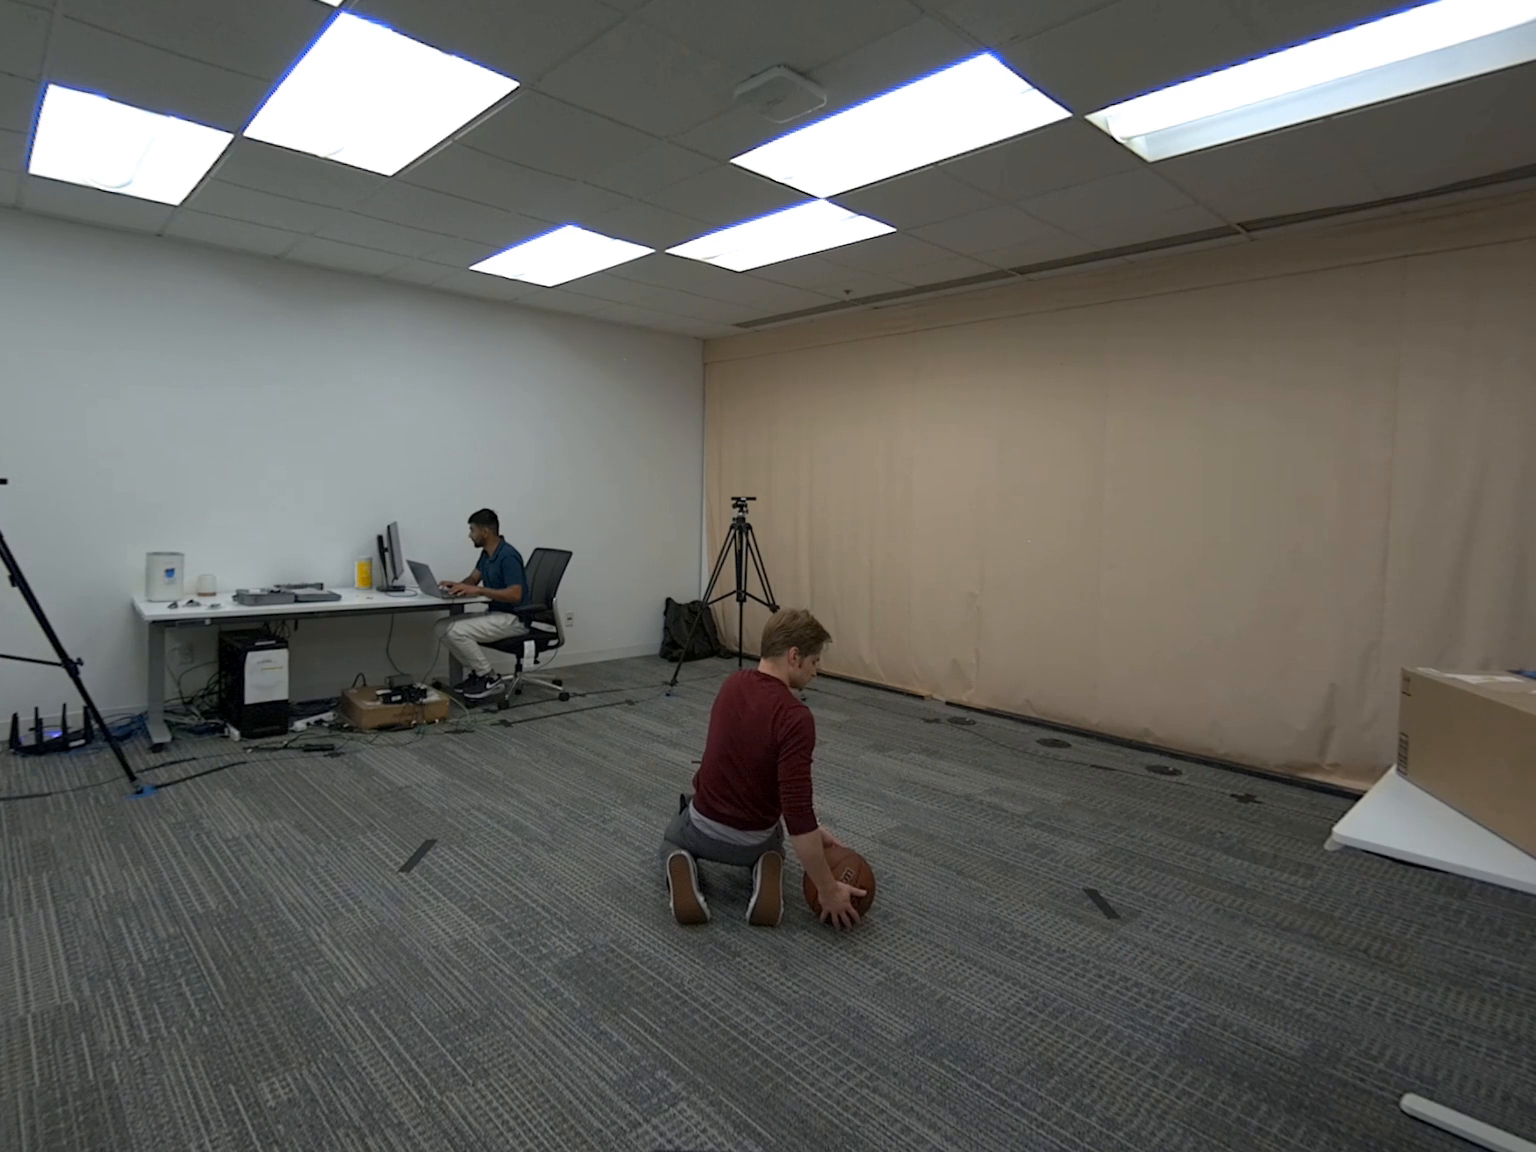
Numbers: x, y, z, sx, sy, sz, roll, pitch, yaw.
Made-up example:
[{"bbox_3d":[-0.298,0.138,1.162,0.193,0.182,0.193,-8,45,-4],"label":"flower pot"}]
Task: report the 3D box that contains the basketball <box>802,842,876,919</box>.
[{"bbox_3d":[0.232,1.018,2.798,0.236,0.235,0.237,1,4,-1],"label":"basketball"}]
